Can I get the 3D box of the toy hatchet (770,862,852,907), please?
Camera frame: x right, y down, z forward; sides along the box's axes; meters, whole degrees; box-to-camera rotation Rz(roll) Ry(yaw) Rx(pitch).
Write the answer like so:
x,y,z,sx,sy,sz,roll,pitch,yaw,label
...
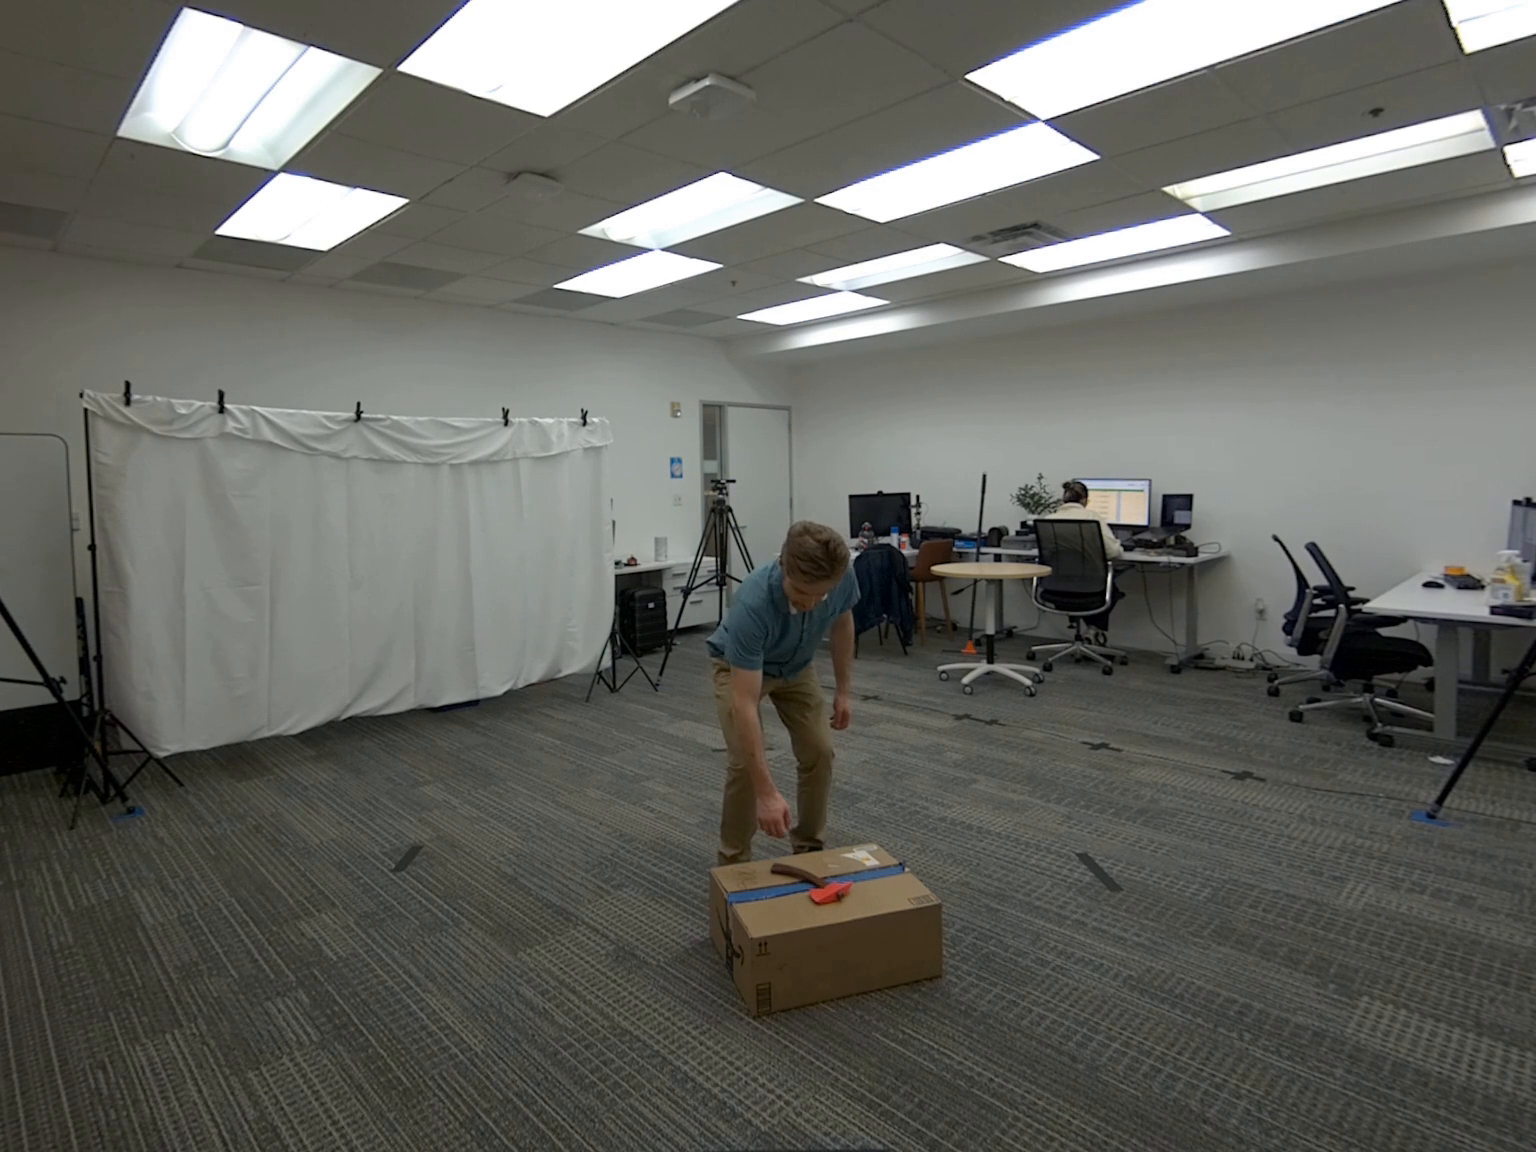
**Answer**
x,y,z,sx,sy,sz,roll,pitch,yaw,label
0.099,0.893,2.464,0.278,0.029,0.128,2,13,38,toy hatchet
